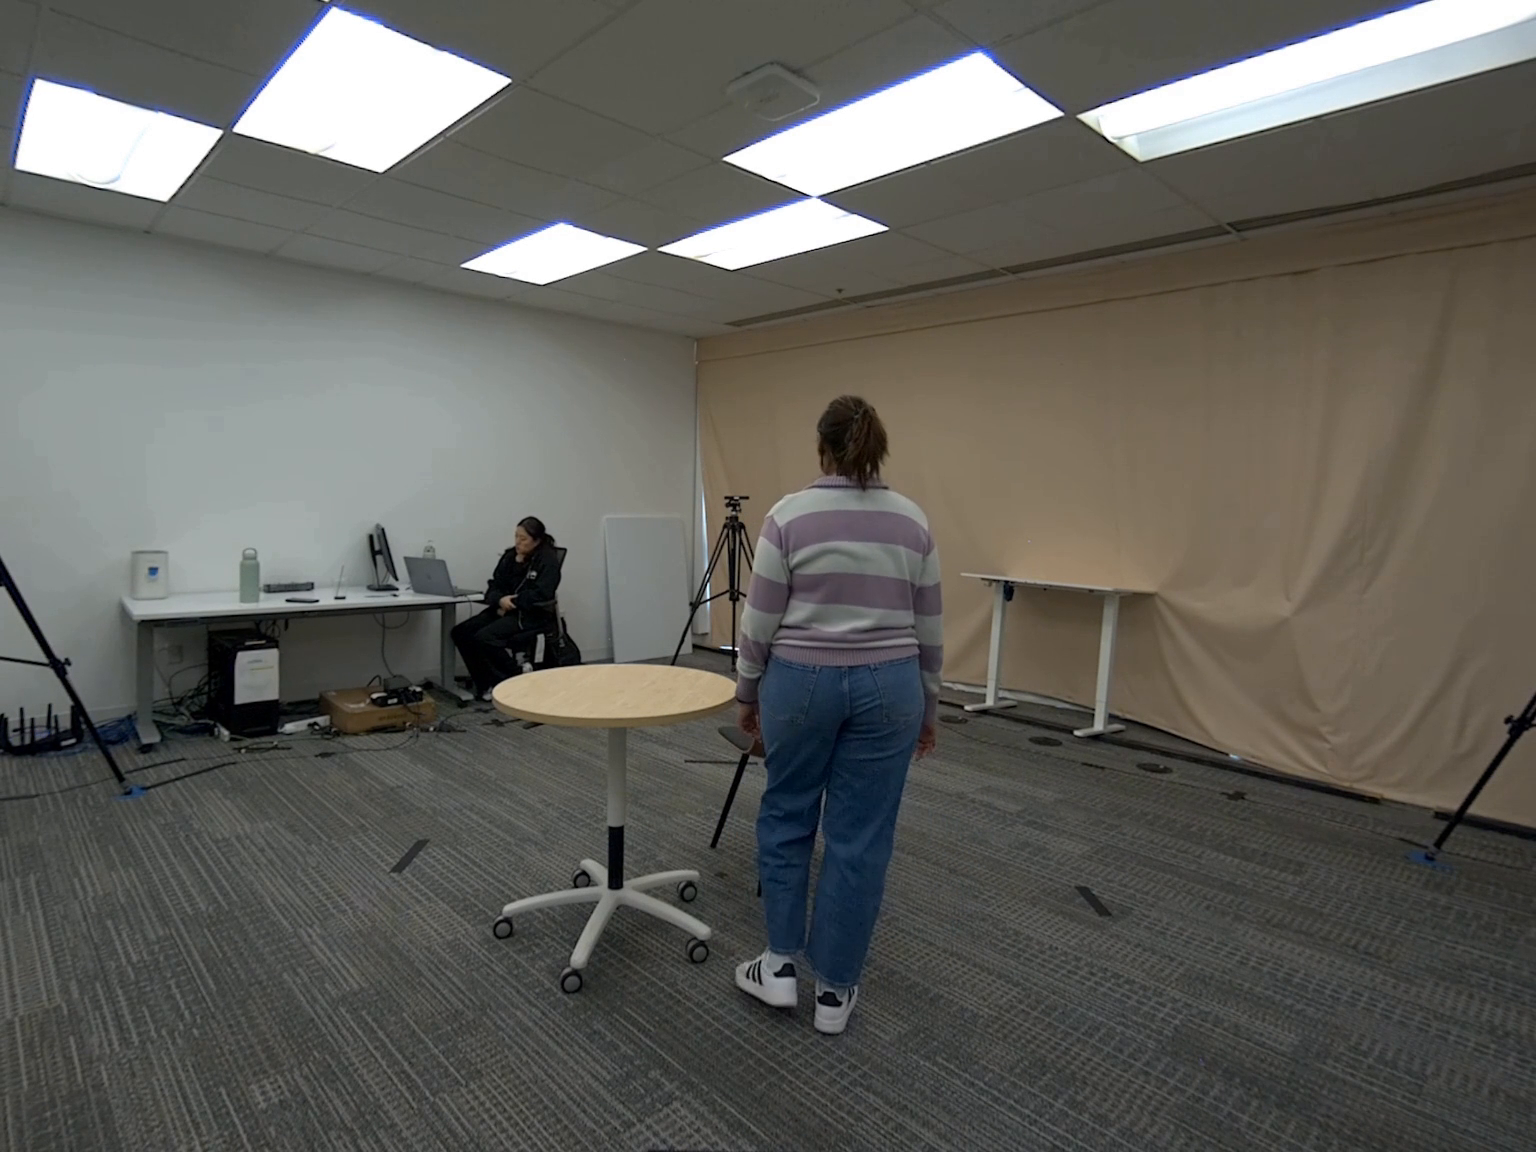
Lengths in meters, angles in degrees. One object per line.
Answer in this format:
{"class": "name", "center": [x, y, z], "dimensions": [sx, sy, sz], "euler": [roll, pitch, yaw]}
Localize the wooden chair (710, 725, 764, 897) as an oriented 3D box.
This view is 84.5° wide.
{"class": "wooden chair", "center": [0.076, 0.675, 3.207], "dimensions": [0.470, 0.873, 0.535], "euler": [0, 8, -25]}
